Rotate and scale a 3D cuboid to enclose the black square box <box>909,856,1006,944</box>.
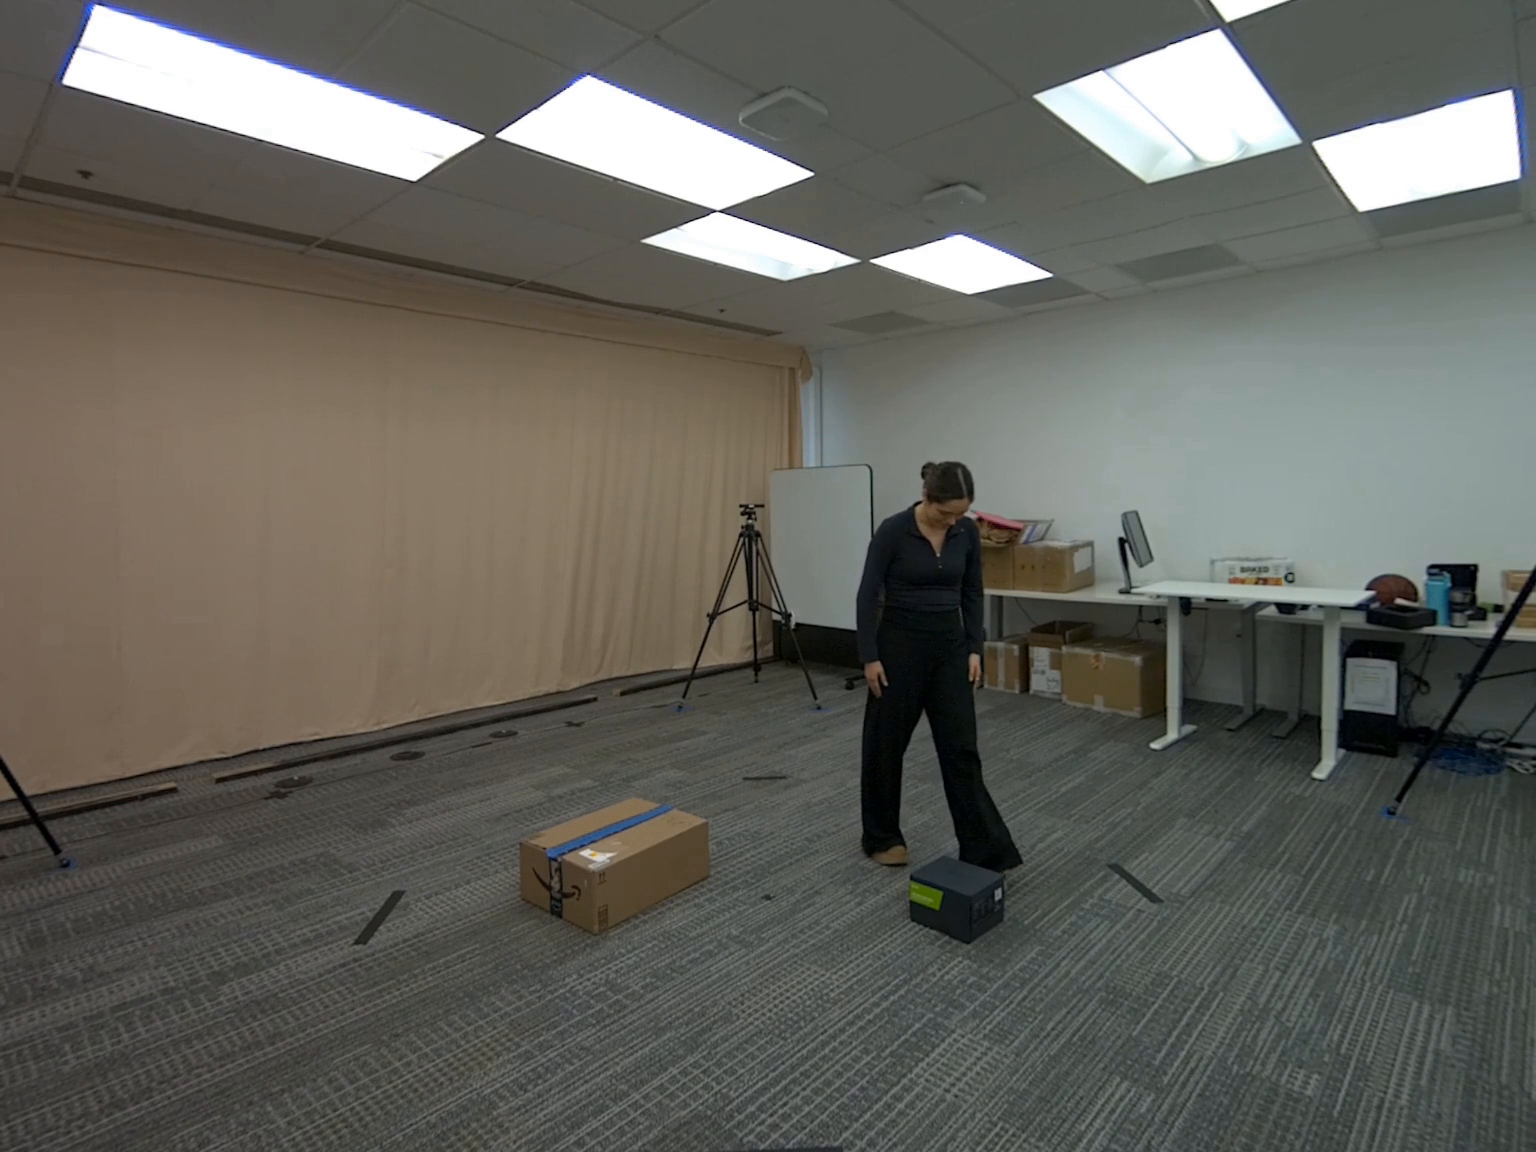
[{"bbox_3d":[0.625,1.059,2.788,0.235,0.155,0.210,4,6,44],"label":"black square box"}]
